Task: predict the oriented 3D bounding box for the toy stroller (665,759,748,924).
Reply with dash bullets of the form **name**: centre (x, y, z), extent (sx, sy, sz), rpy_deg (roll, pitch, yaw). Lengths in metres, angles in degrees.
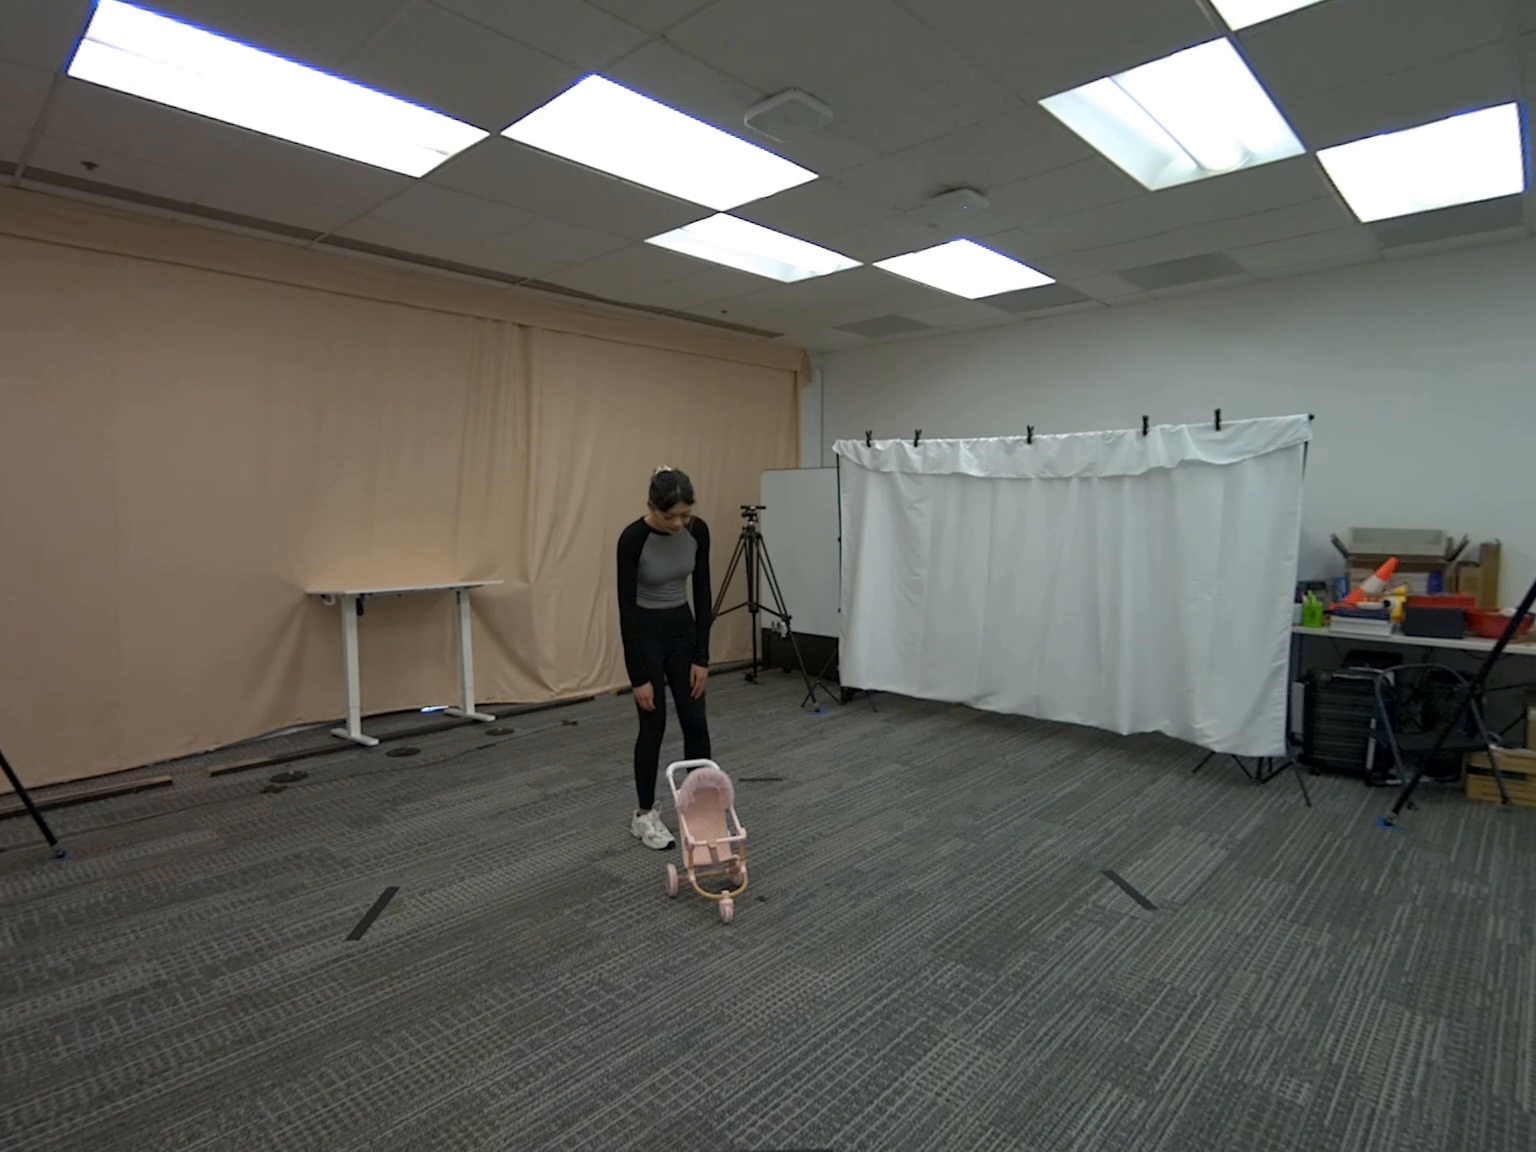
- **toy stroller**: centre (-0.208, 0.920, 2.980), extent (0.277, 0.540, 0.344), rpy_deg (-2, -13, -17)
